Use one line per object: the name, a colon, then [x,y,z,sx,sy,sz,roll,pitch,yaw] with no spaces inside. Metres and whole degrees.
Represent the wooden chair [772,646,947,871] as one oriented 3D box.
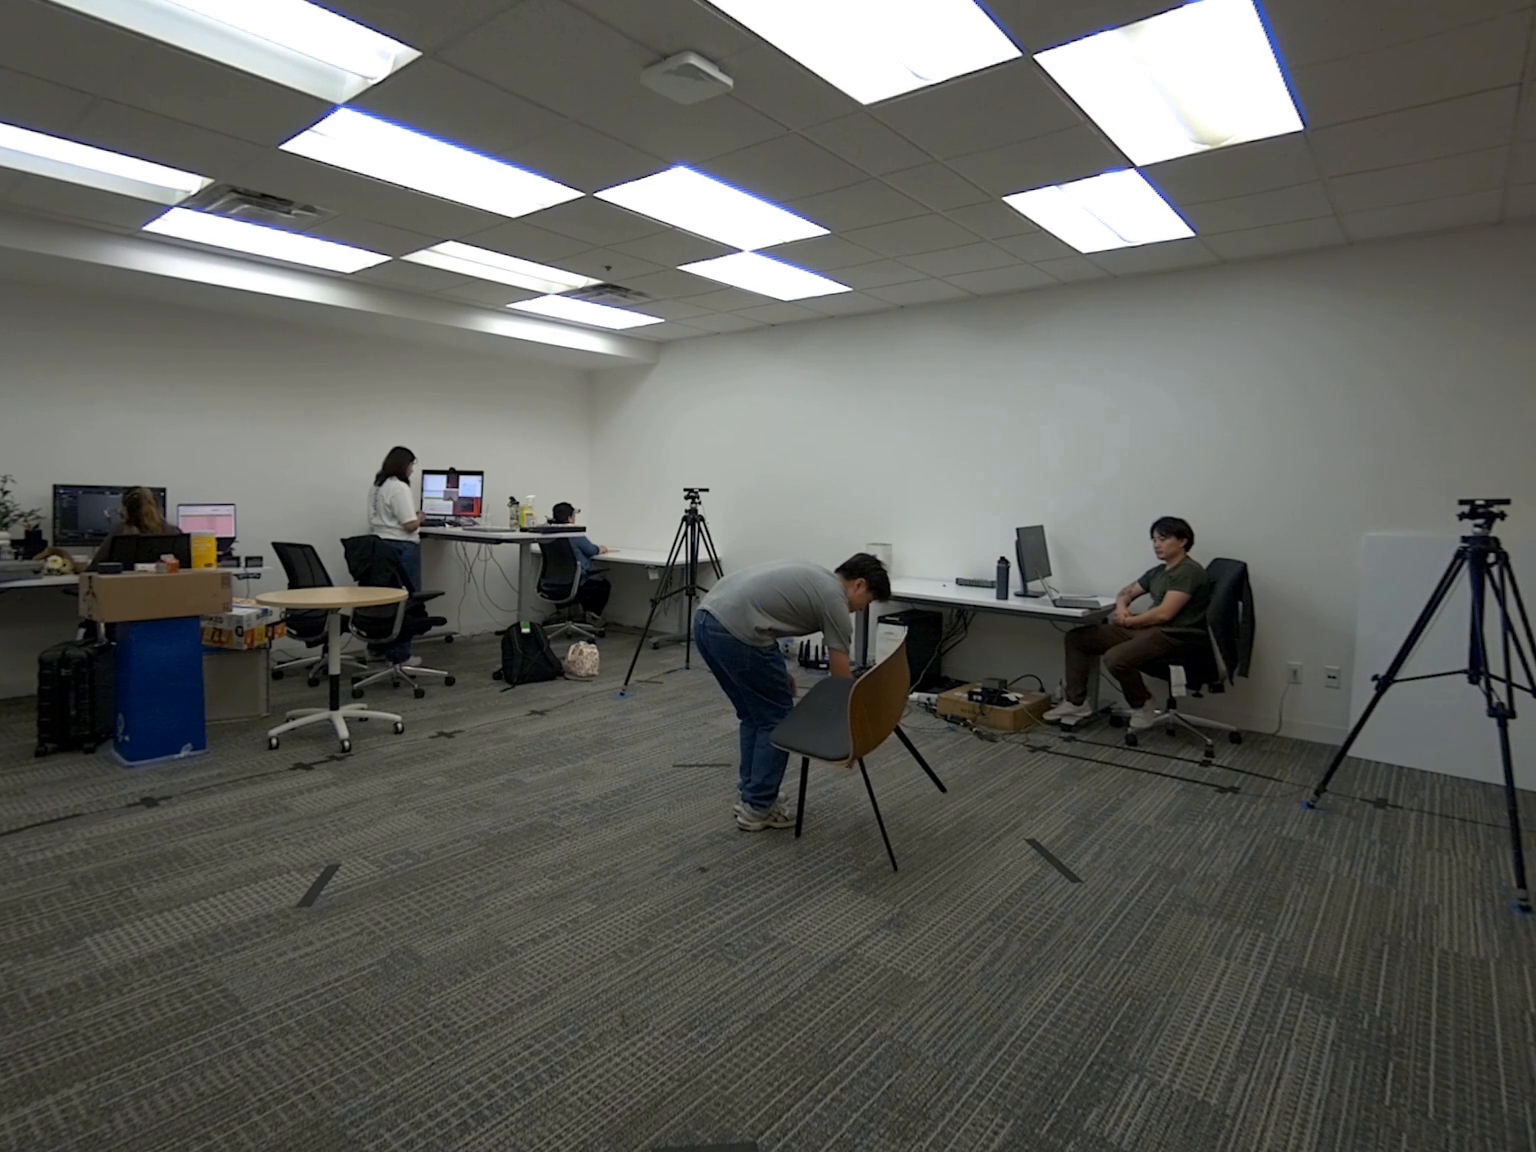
wooden chair: [0.299,0.586,3.267,0.541,0.853,0.475,9,34,36]
